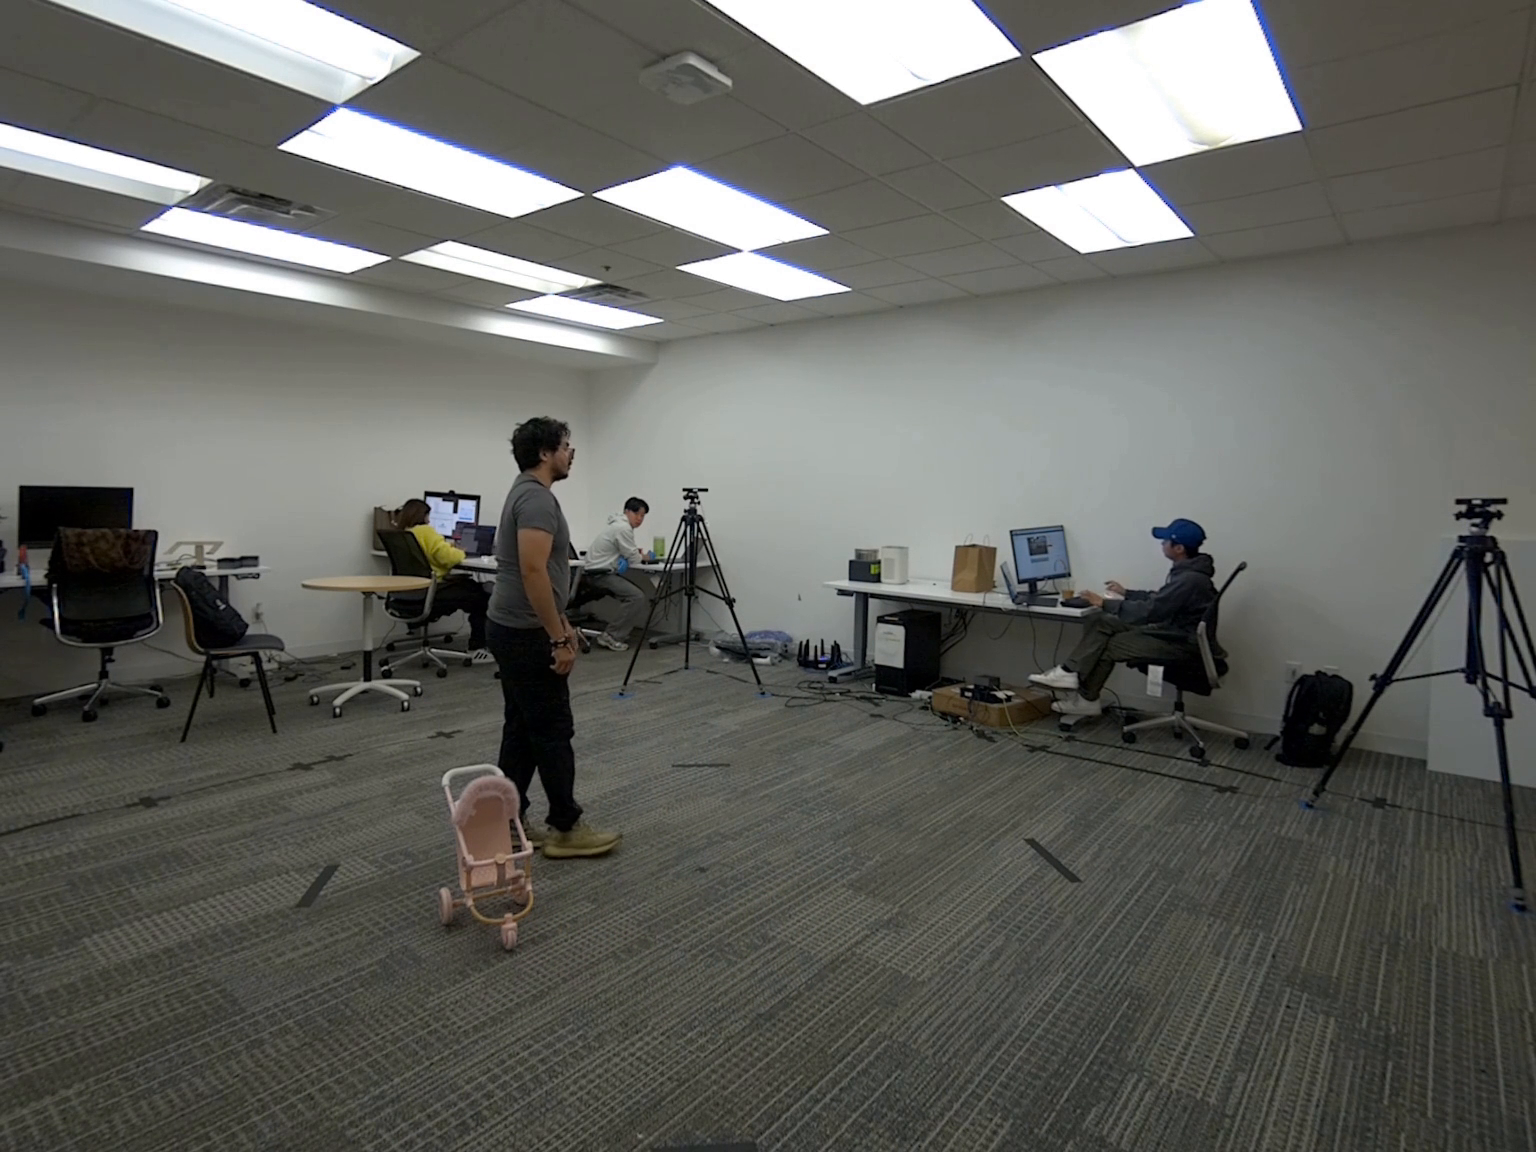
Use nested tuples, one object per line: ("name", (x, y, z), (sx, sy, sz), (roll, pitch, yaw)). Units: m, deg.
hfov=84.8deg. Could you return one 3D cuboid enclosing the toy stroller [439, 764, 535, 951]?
("toy stroller", (-0.896, 0.874, 2.698), (0.274, 0.541, 0.347), (-1, -12, -32))
